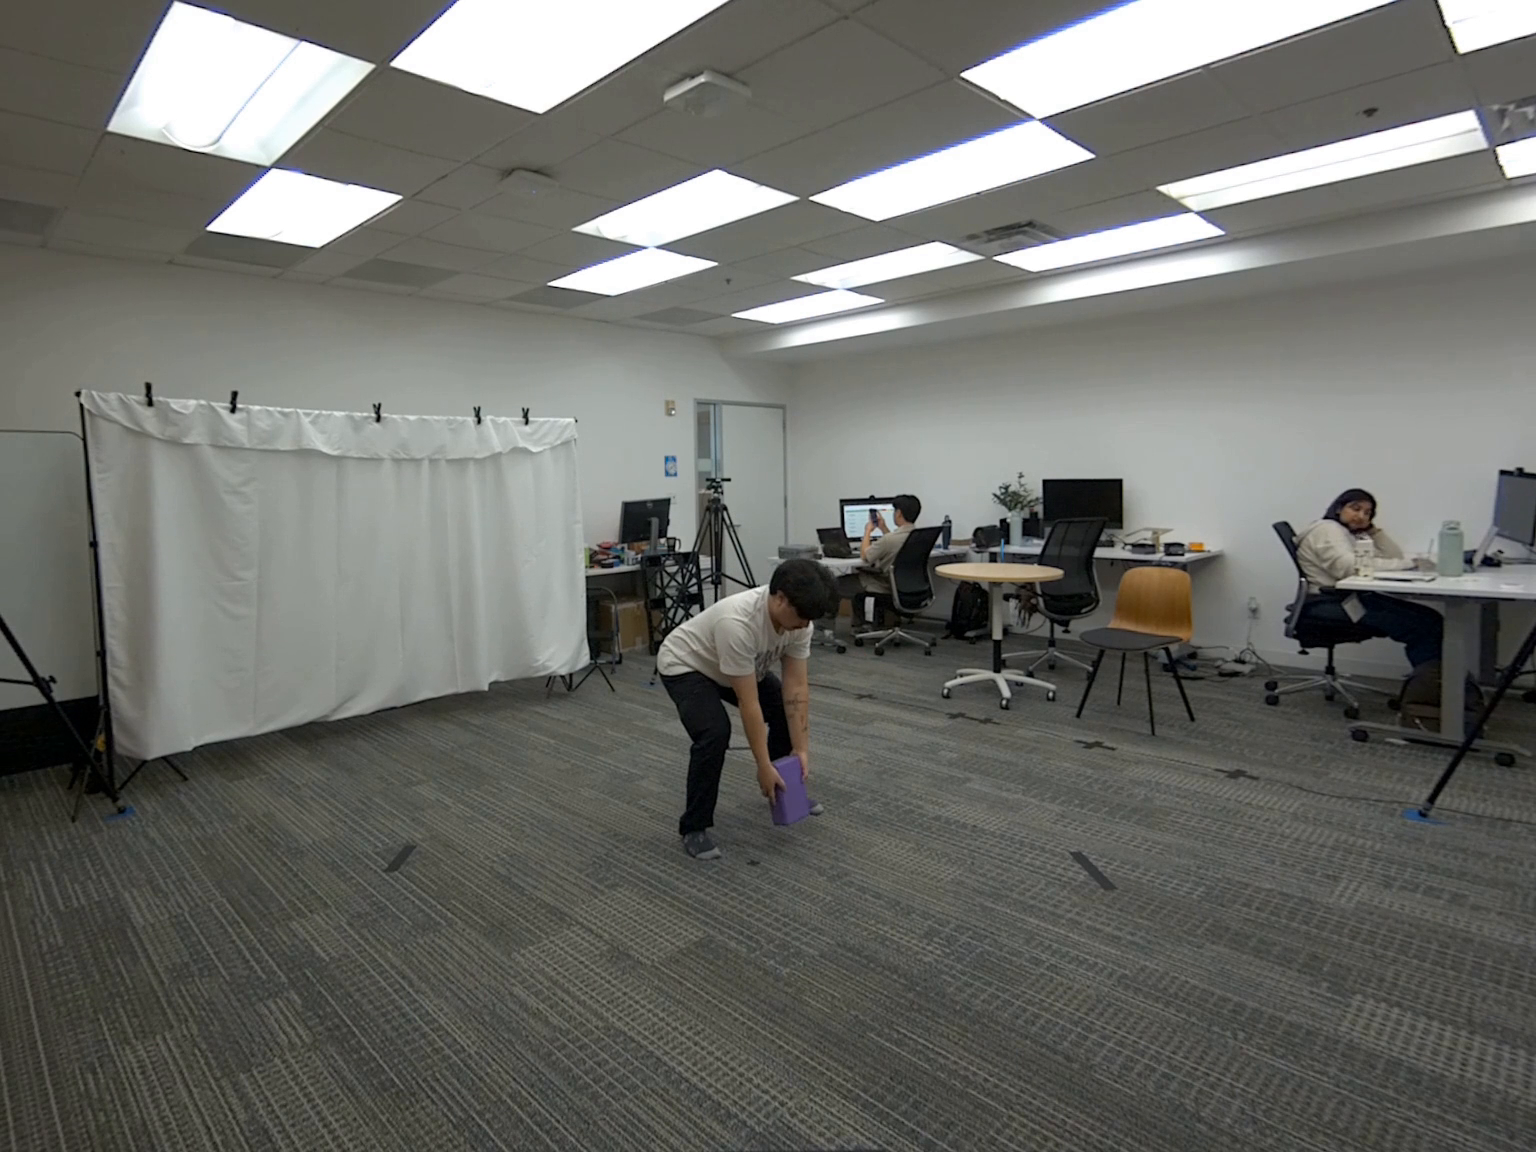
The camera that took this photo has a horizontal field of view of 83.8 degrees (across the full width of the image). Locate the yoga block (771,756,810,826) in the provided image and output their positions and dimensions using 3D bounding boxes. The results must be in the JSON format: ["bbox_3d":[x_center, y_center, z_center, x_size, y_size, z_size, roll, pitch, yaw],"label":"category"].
[{"bbox_3d":[0.066,0.820,3.274,0.078,0.229,0.145,-3,0,40],"label":"yoga block"}]
